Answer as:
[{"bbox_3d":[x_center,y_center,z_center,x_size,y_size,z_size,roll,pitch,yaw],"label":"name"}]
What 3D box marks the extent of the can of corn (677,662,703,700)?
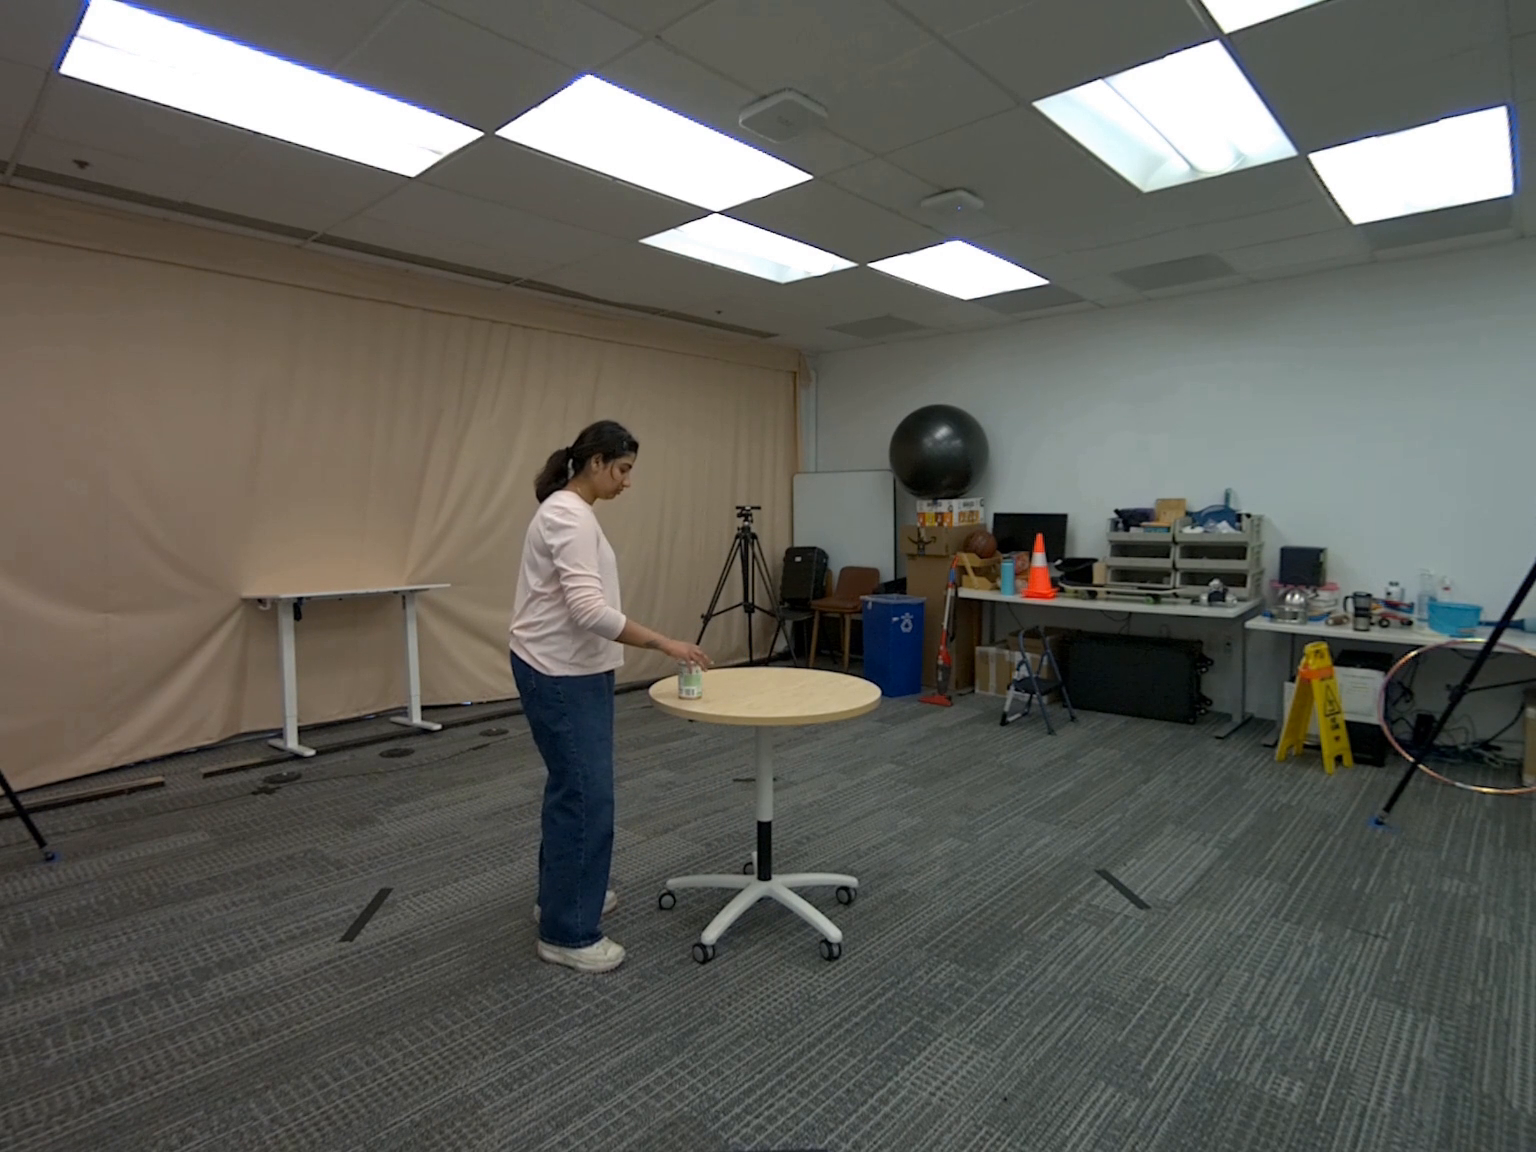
[{"bbox_3d":[-0.240,0.335,2.659,0.074,0.110,0.075,-4,8,-1],"label":"can of corn"}]
